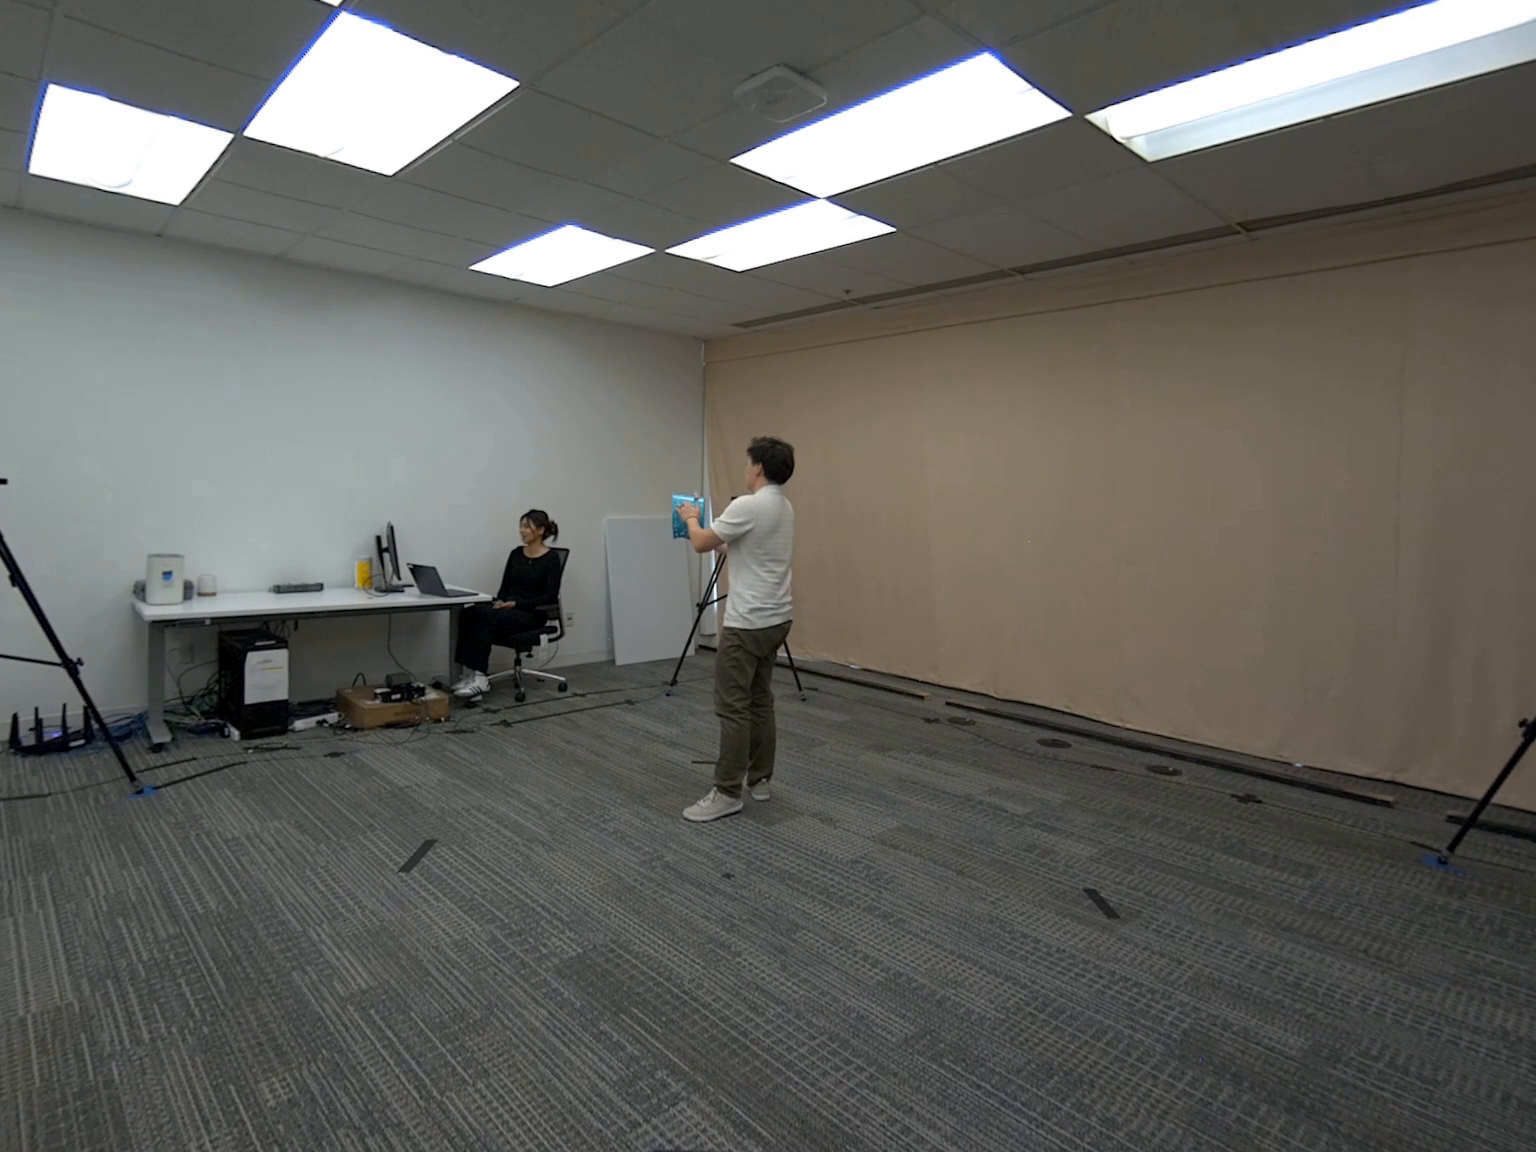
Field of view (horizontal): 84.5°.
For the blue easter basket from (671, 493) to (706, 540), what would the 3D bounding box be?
[{"bbox_3d":[-0.405,-0.298,4.190,0.156,0.243,0.244,0,4,0],"label":"blue easter basket"}]
